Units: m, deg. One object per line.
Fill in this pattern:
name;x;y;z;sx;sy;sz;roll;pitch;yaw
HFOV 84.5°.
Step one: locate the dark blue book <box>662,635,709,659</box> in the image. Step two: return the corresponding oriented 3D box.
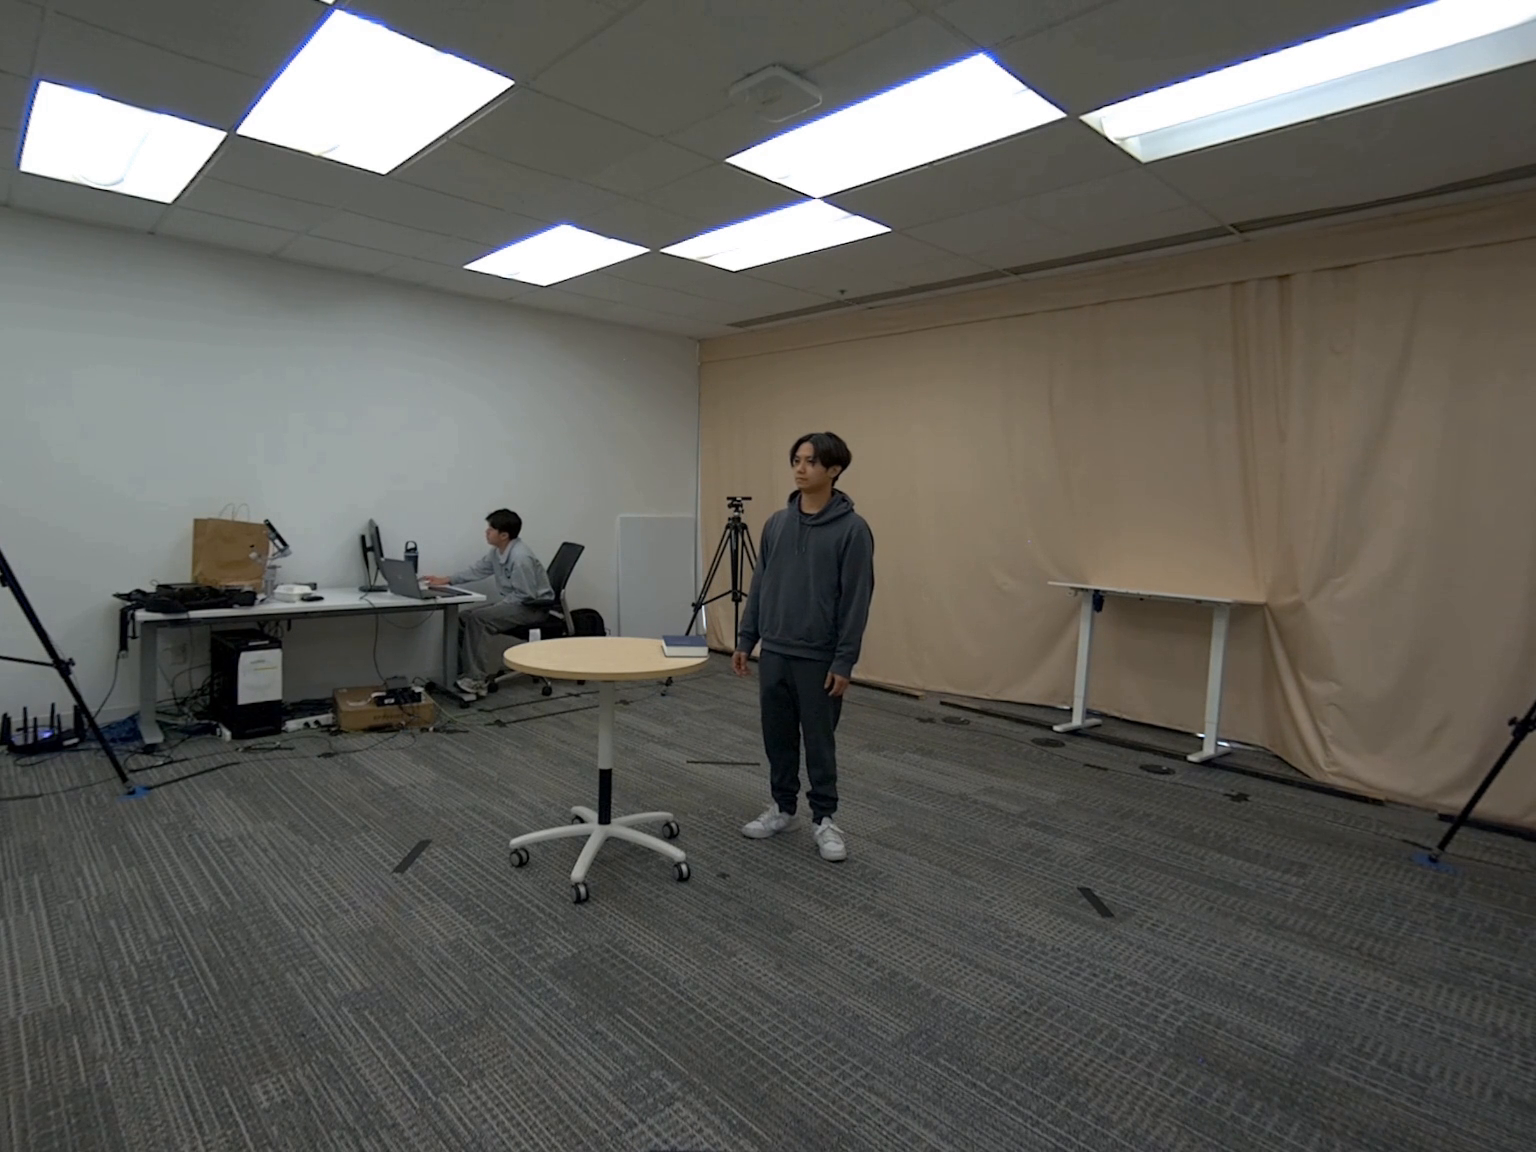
dark blue book;-0.337;0.272;3.264;0.162;0.045;0.248;1;5;-10
